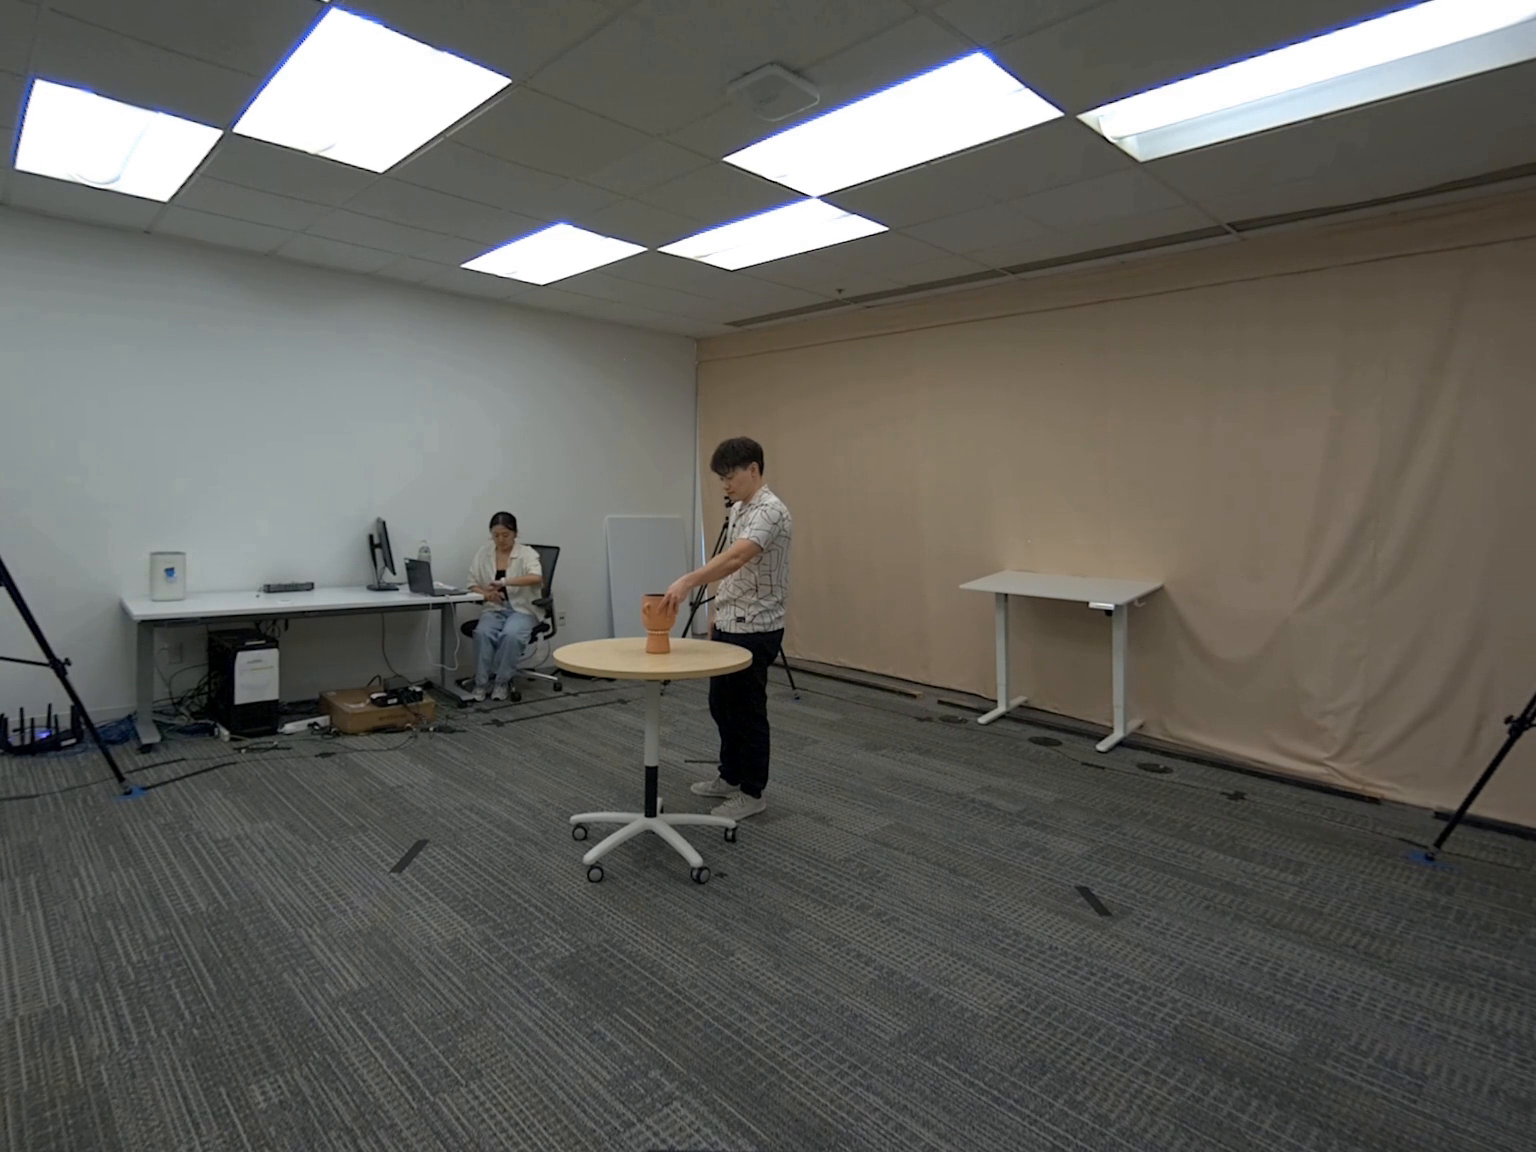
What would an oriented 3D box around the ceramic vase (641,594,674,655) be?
[{"bbox_3d":[-0.438,0.187,3.285,0.156,0.219,0.137,1,2,-23],"label":"ceramic vase"}]
